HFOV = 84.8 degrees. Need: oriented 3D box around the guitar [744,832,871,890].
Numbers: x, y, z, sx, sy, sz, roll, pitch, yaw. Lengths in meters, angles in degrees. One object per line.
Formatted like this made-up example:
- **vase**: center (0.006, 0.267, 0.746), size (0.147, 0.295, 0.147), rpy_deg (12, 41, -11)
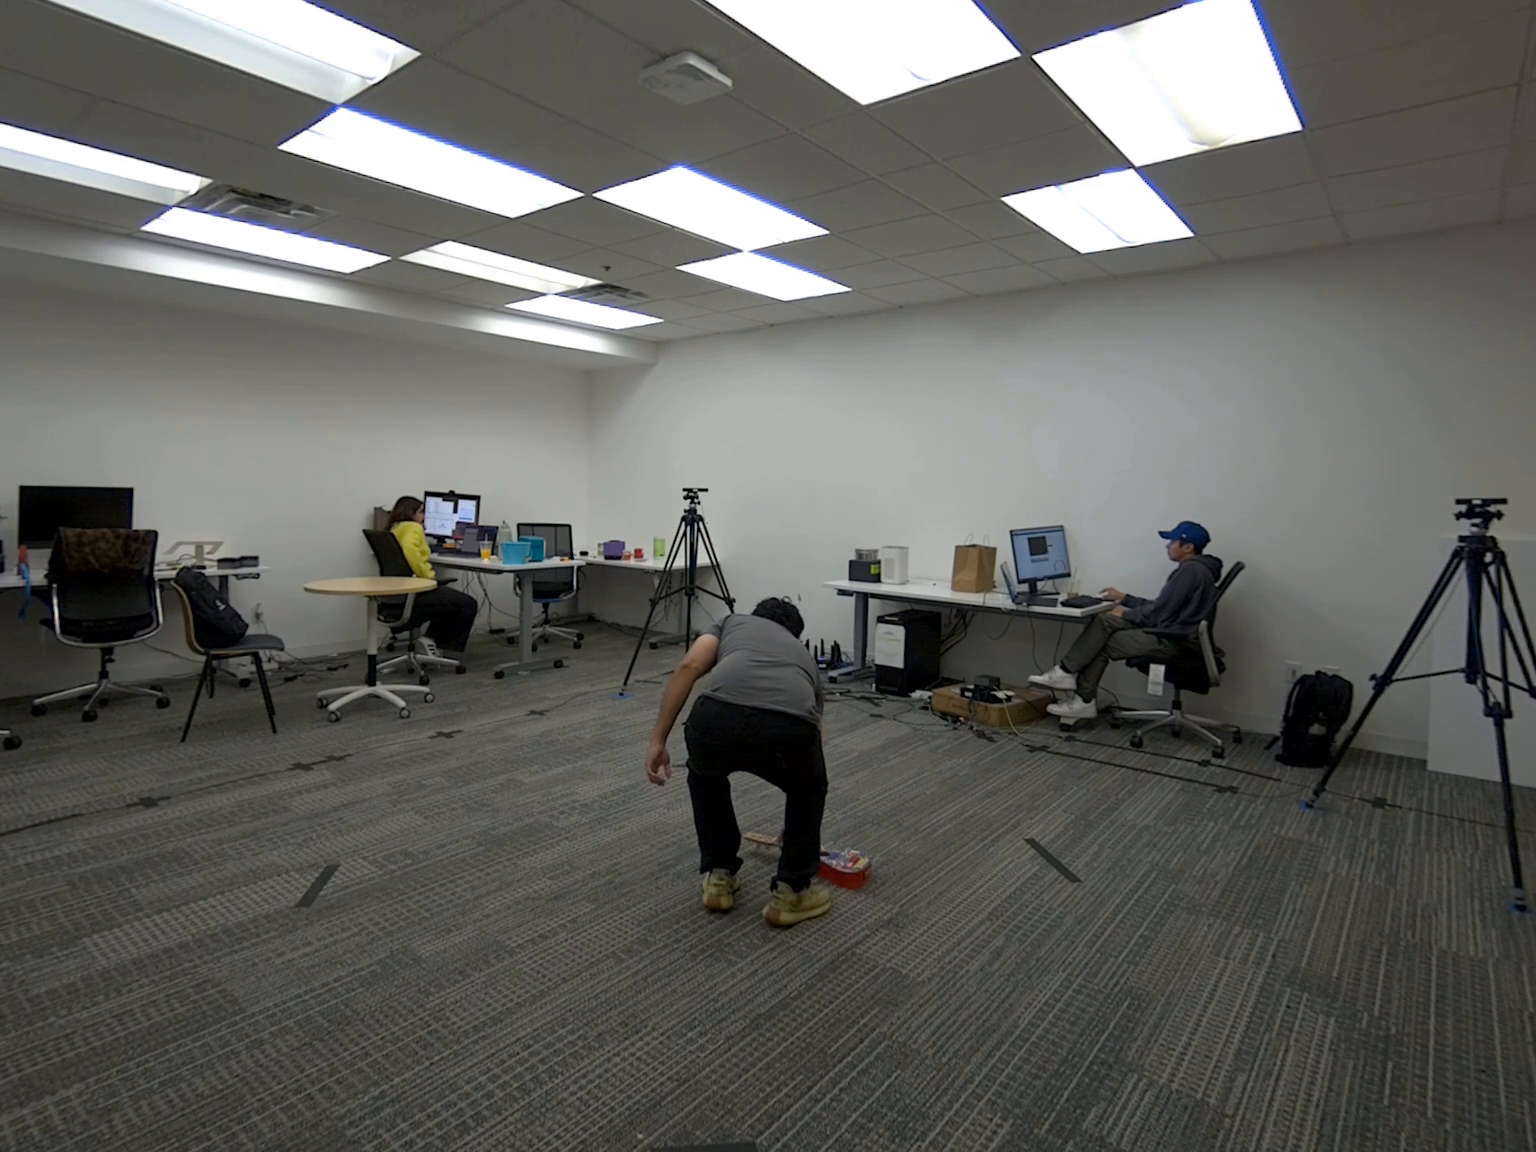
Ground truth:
- **guitar**: center (0.138, 1.035, 3.179), size (0.514, 0.070, 0.187), rpy_deg (6, 6, 35)
